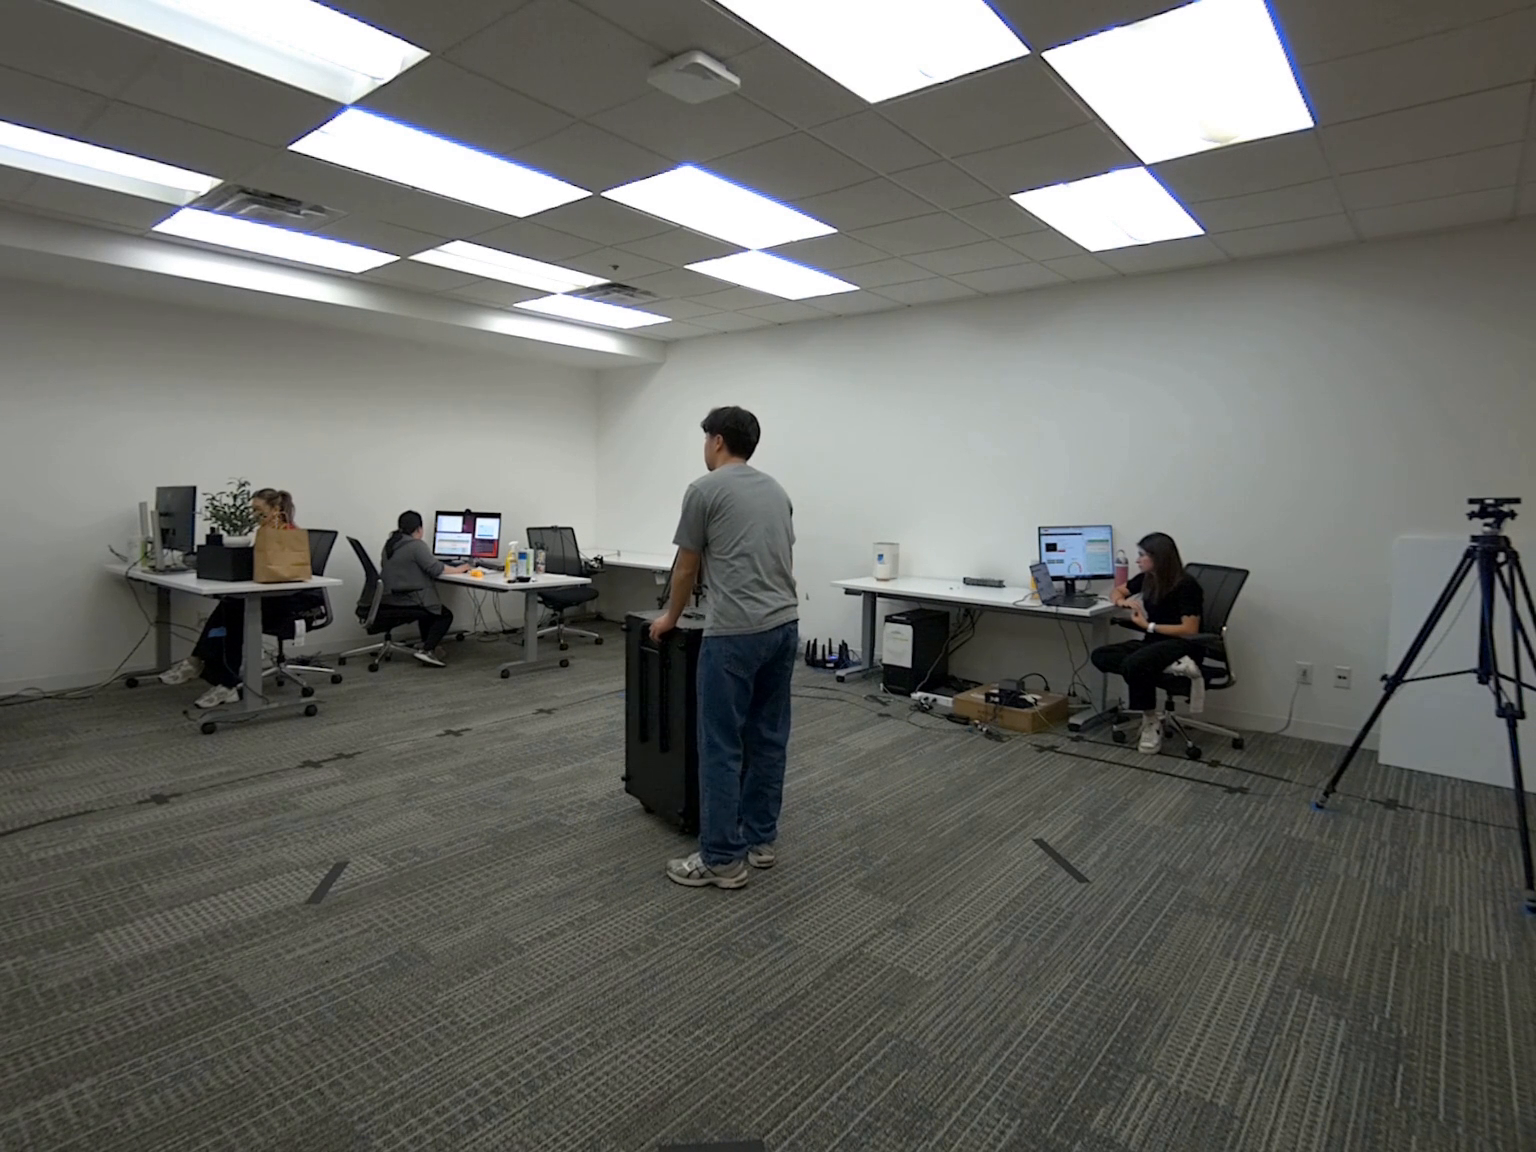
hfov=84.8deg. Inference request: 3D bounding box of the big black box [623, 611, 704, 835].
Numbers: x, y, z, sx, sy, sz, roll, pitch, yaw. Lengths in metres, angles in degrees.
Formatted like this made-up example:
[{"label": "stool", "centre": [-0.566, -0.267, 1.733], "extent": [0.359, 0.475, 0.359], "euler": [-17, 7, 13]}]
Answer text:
[{"label": "big black box", "centre": [-0.354, 0.596, 3.563], "extent": [0.385, 0.858, 0.539], "euler": [-3, 6, -37]}]
